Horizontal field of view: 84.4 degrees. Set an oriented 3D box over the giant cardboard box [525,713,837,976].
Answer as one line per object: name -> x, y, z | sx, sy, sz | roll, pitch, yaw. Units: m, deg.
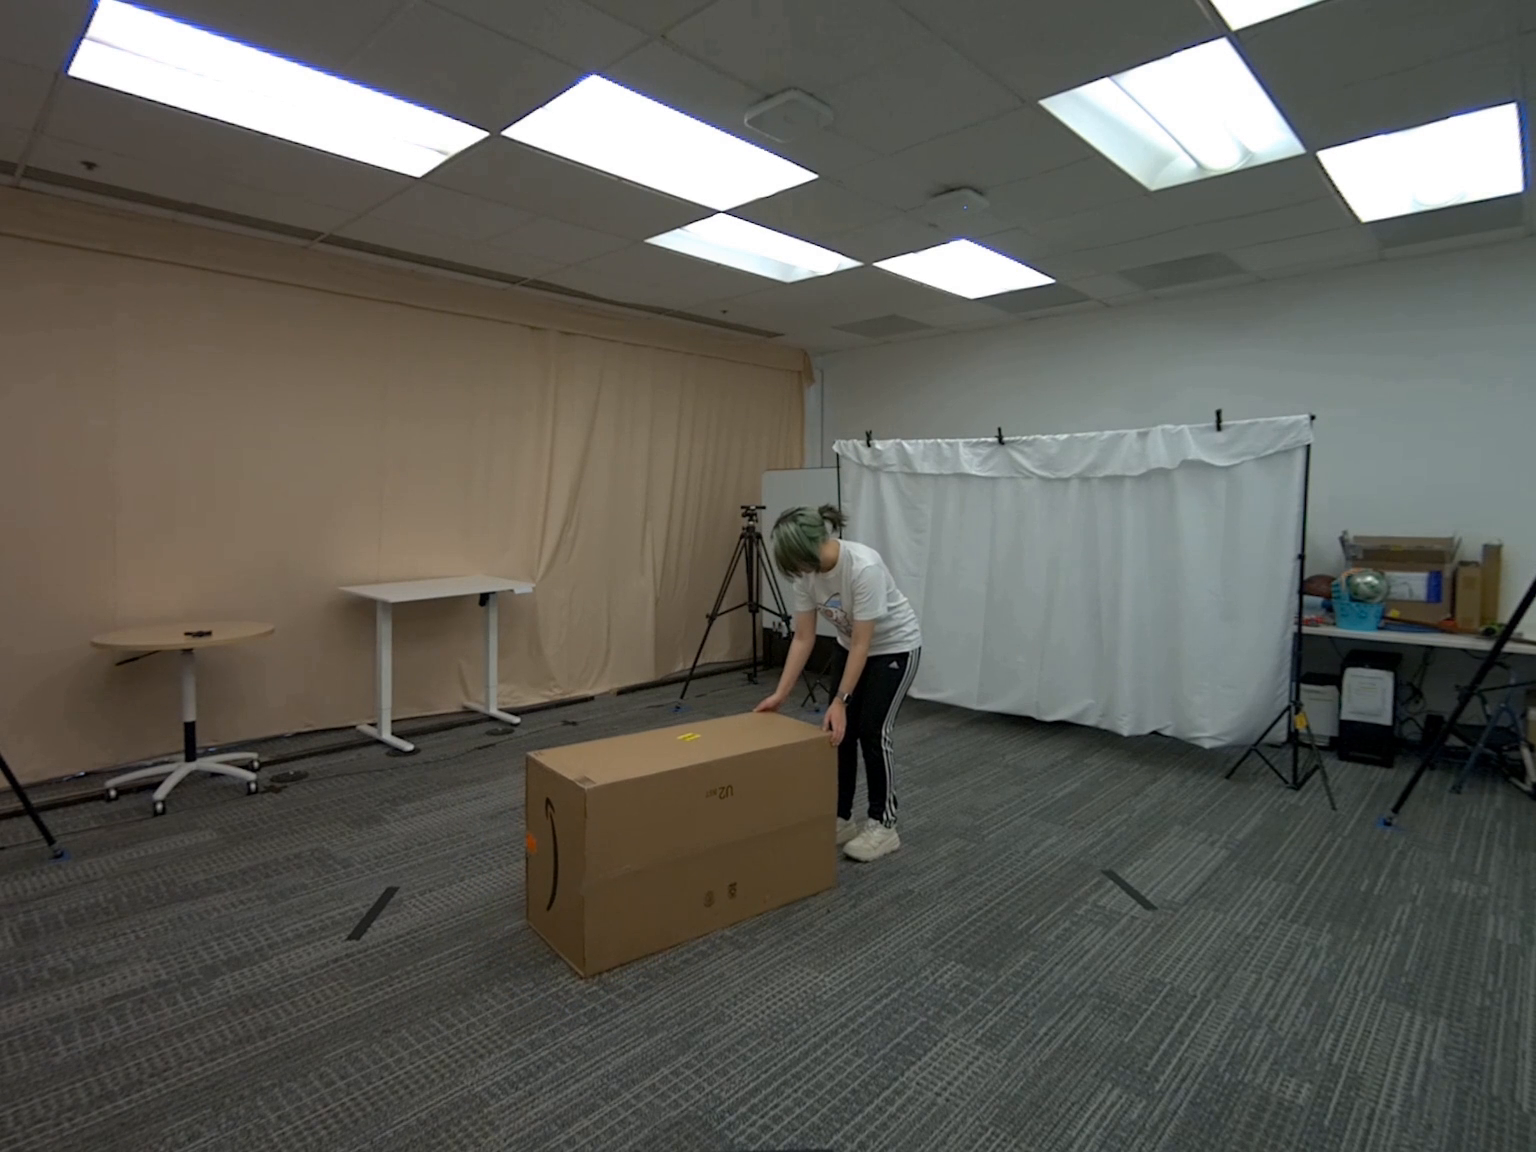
giant cardboard box -> -0.279, 0.864, 2.923 | 0.996, 0.583, 0.461 | -3, 4, -37
